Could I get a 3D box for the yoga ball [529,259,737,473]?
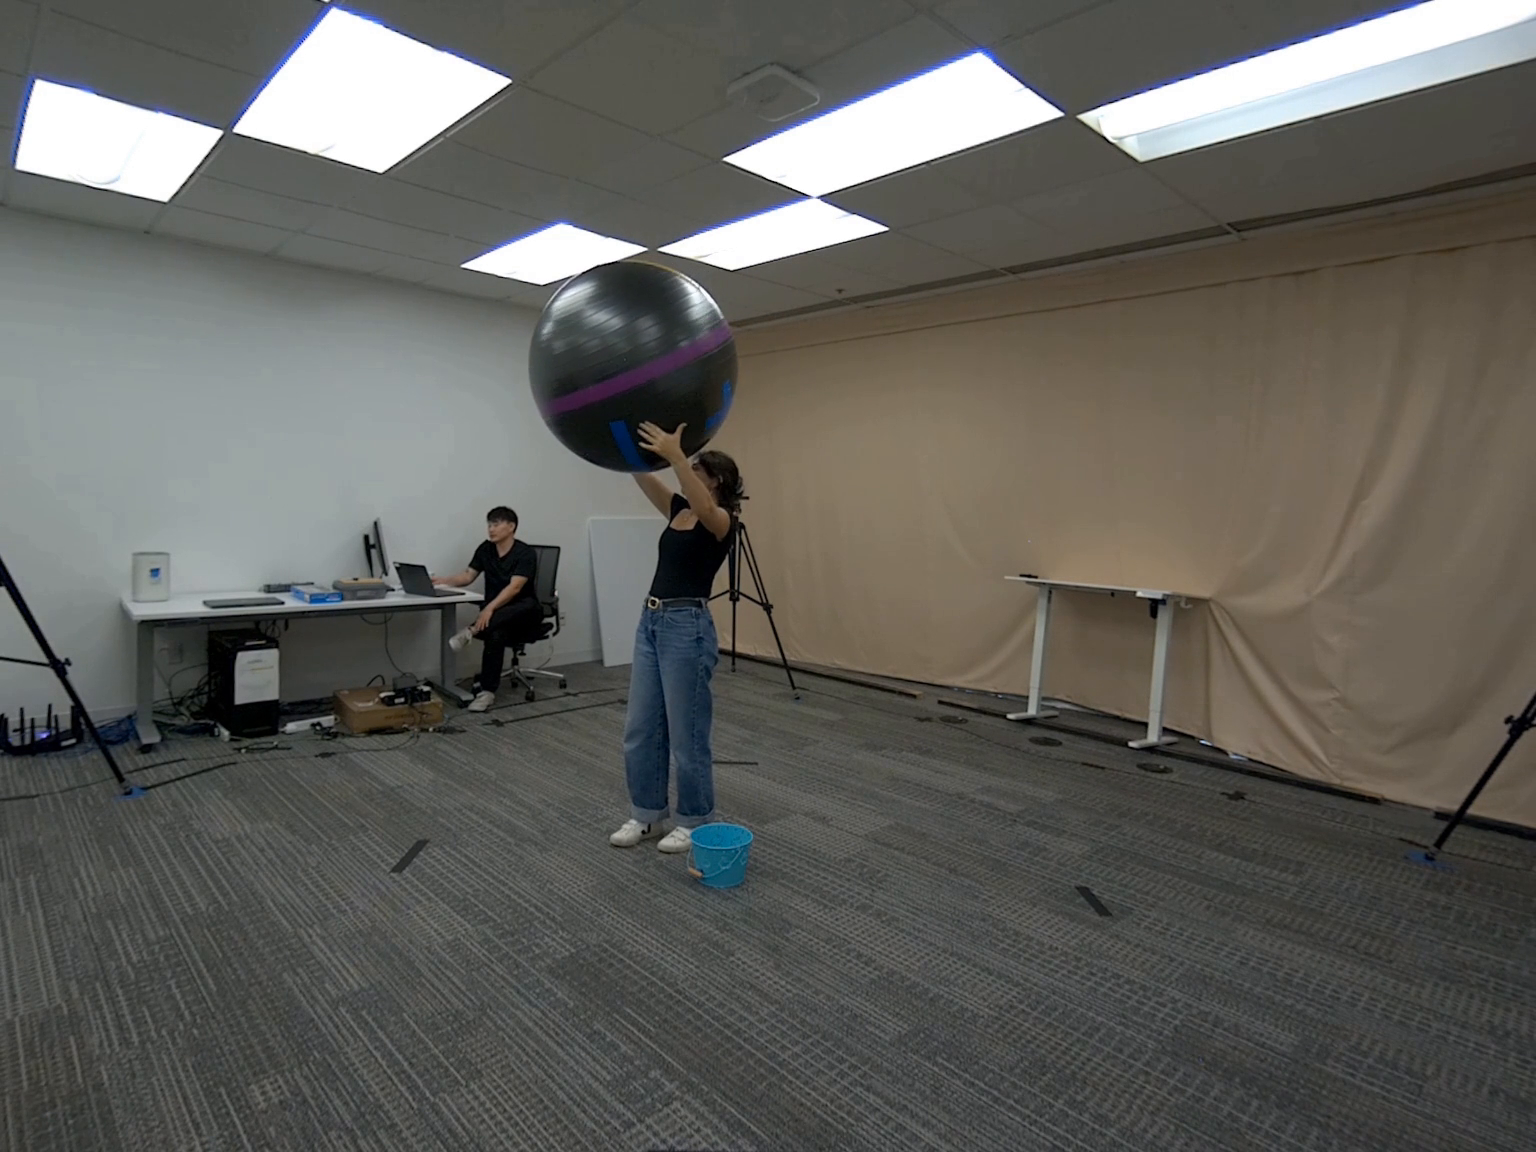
[{"bbox_3d":[-0.496,-0.759,3.095,0.757,0.756,0.761,1,4,-1],"label":"yoga ball"}]
